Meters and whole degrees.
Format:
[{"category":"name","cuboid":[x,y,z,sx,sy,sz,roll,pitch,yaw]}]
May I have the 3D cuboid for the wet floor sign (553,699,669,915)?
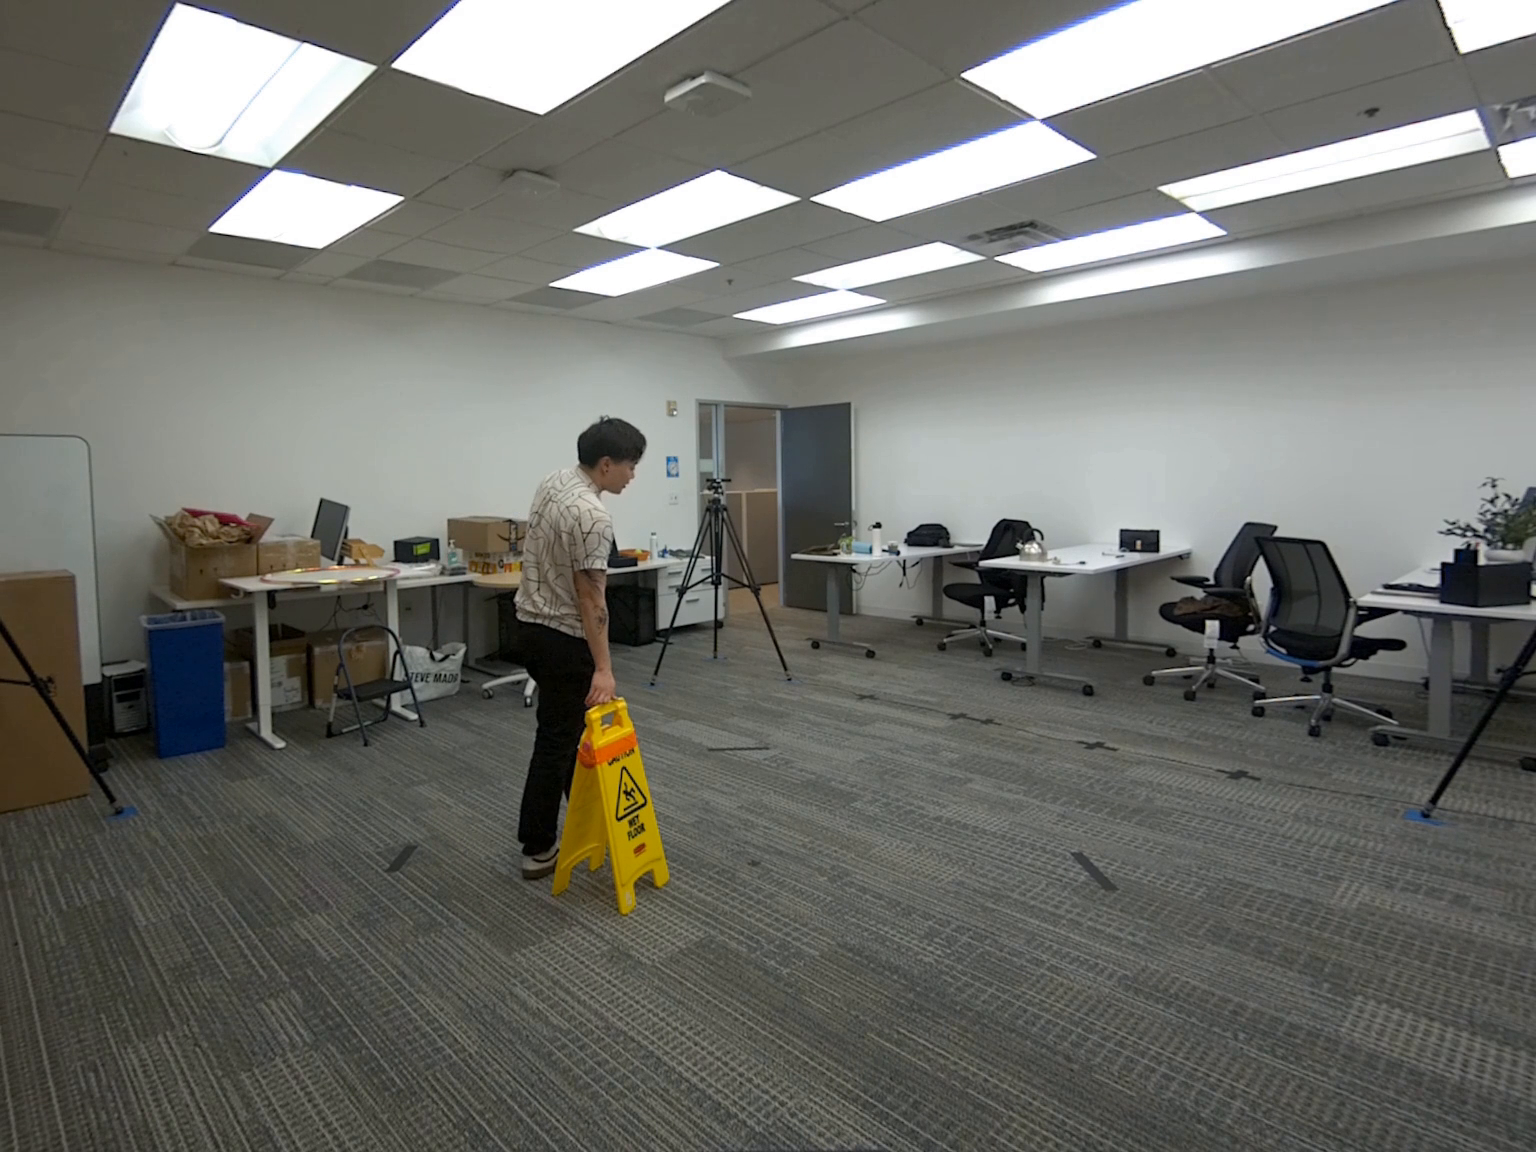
[{"category":"wet floor sign","cuboid":[-0.538,0.753,2.912,0.297,0.643,0.277,2,6,27]}]
